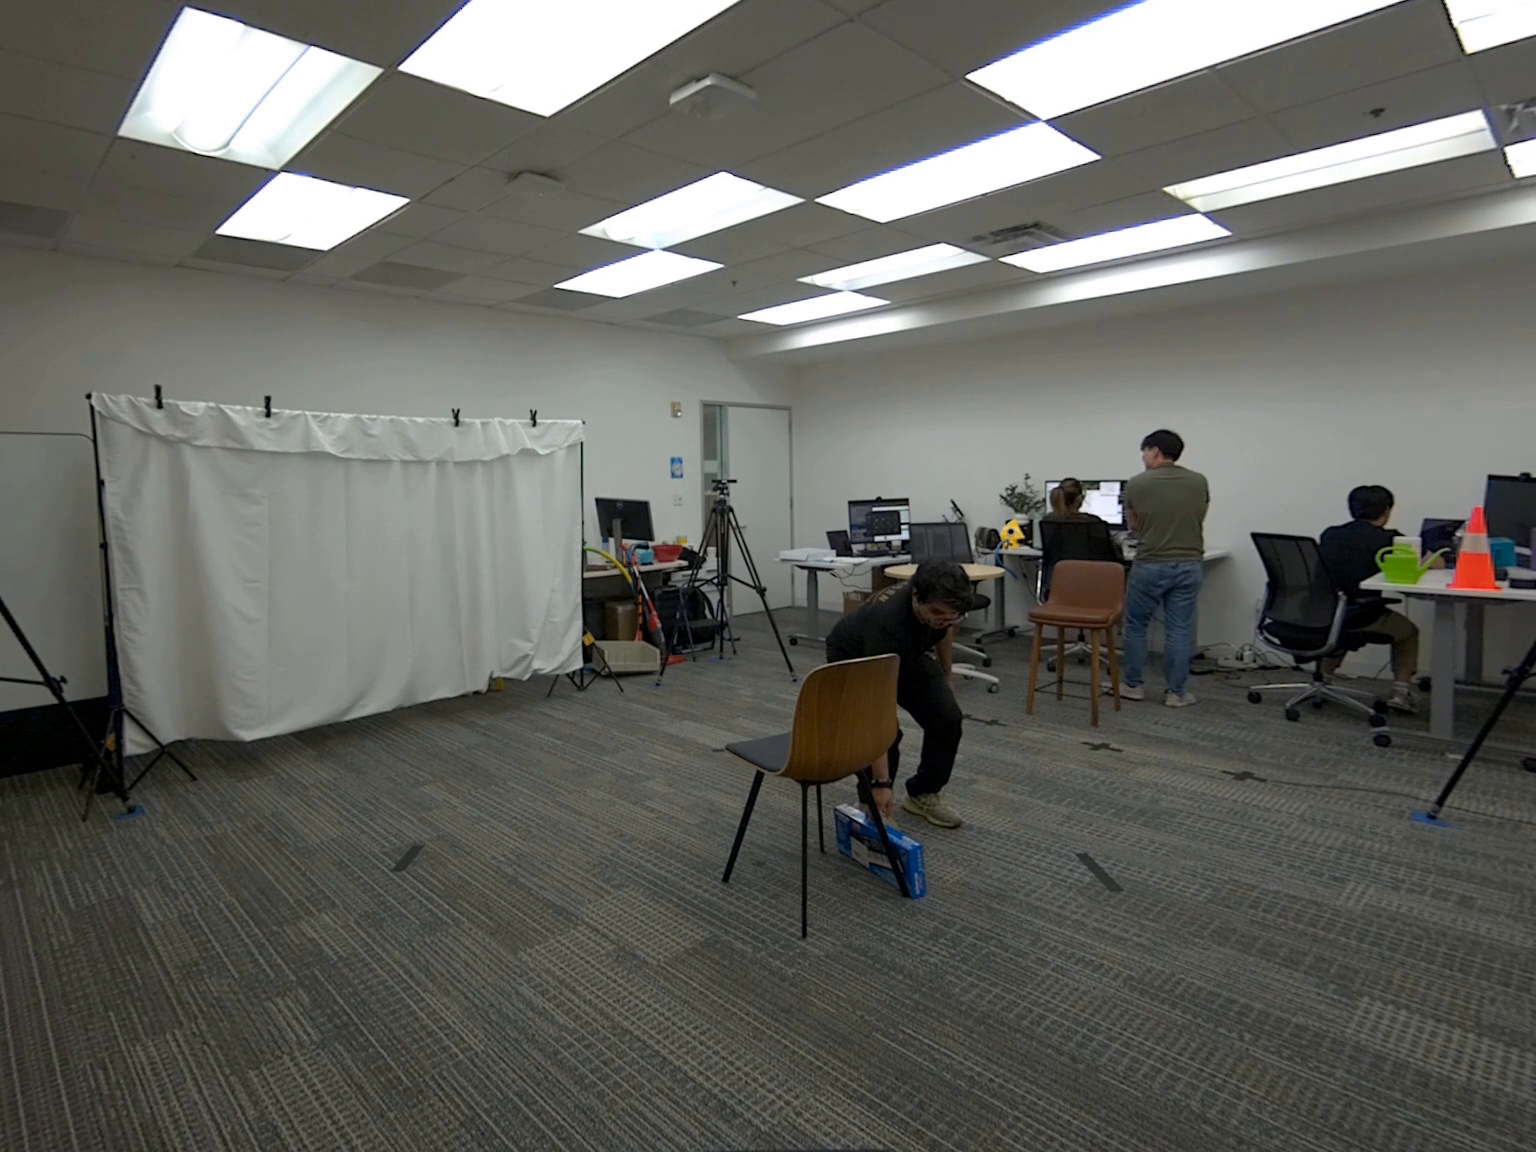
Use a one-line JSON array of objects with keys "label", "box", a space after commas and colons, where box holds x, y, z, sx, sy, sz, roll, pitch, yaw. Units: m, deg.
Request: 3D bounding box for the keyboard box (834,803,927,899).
[{"label": "keyboard box", "box": [0.395, 0.969, 3.023, 0.058, 0.175, 0.449, -9, 9, -28]}]
